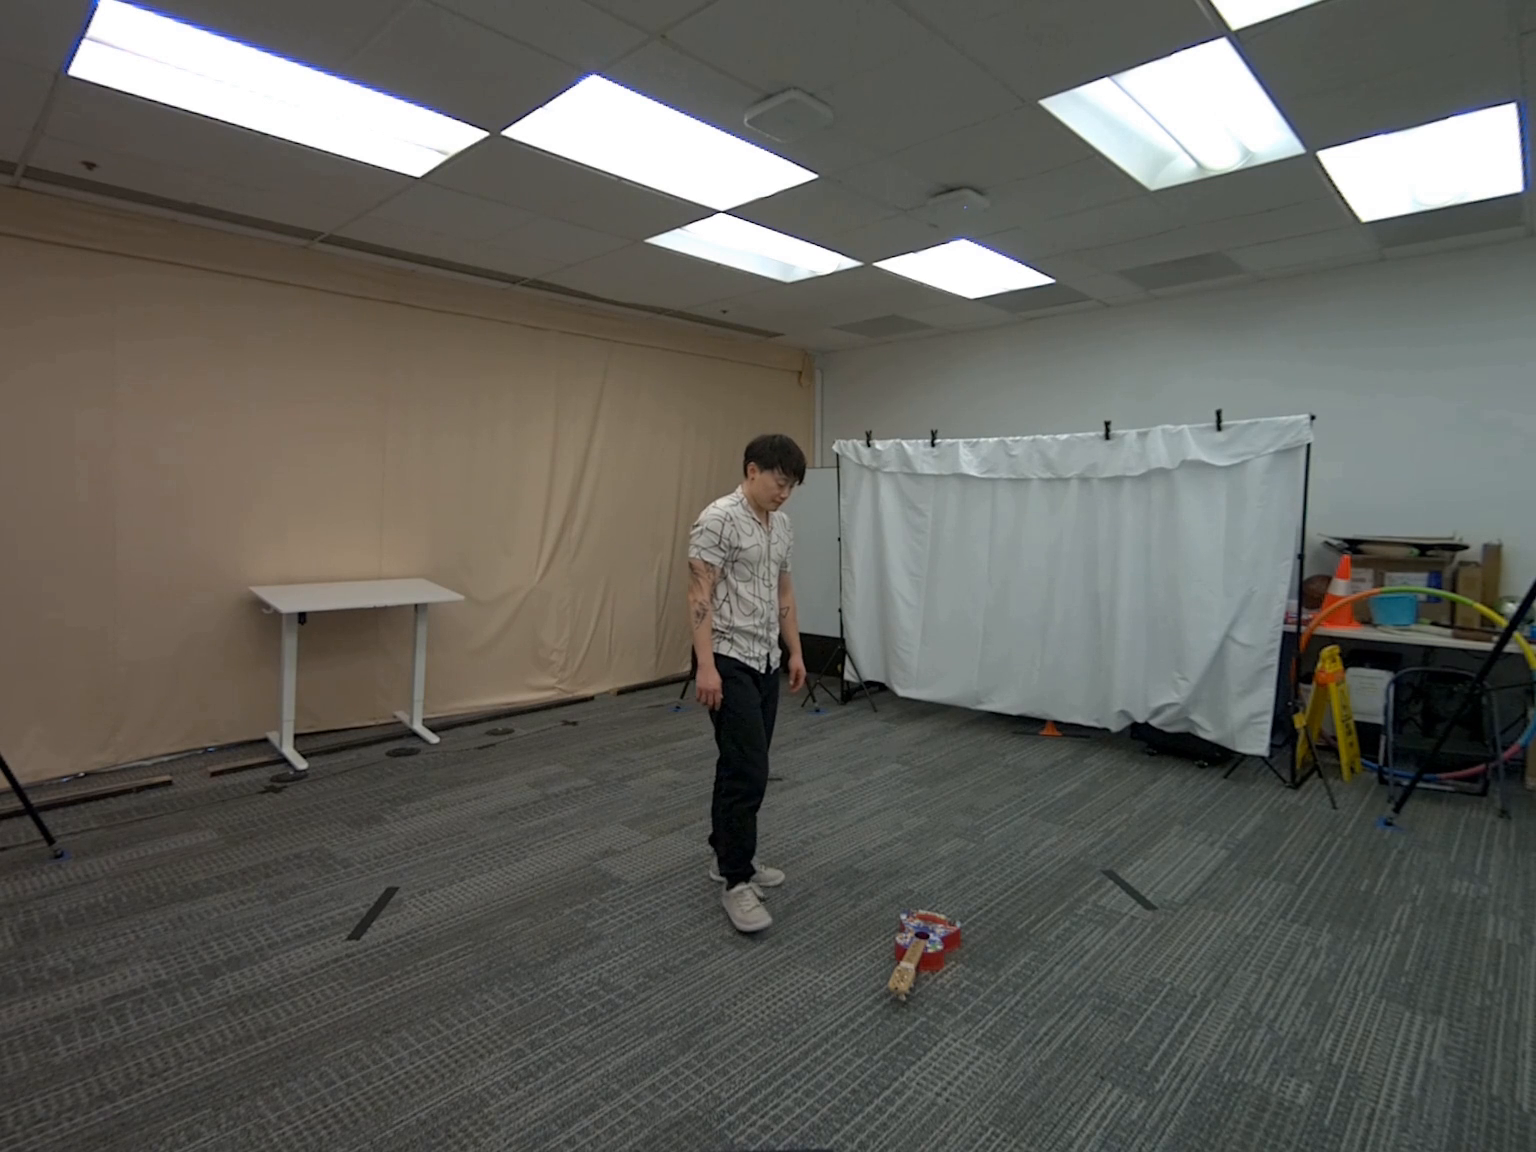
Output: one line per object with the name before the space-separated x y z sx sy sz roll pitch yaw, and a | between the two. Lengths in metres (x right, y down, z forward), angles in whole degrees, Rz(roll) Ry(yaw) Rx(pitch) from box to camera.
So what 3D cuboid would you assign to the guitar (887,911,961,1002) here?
guitar | 0.430 1.145 2.552 0.199 0.070 0.484 3 5 32
